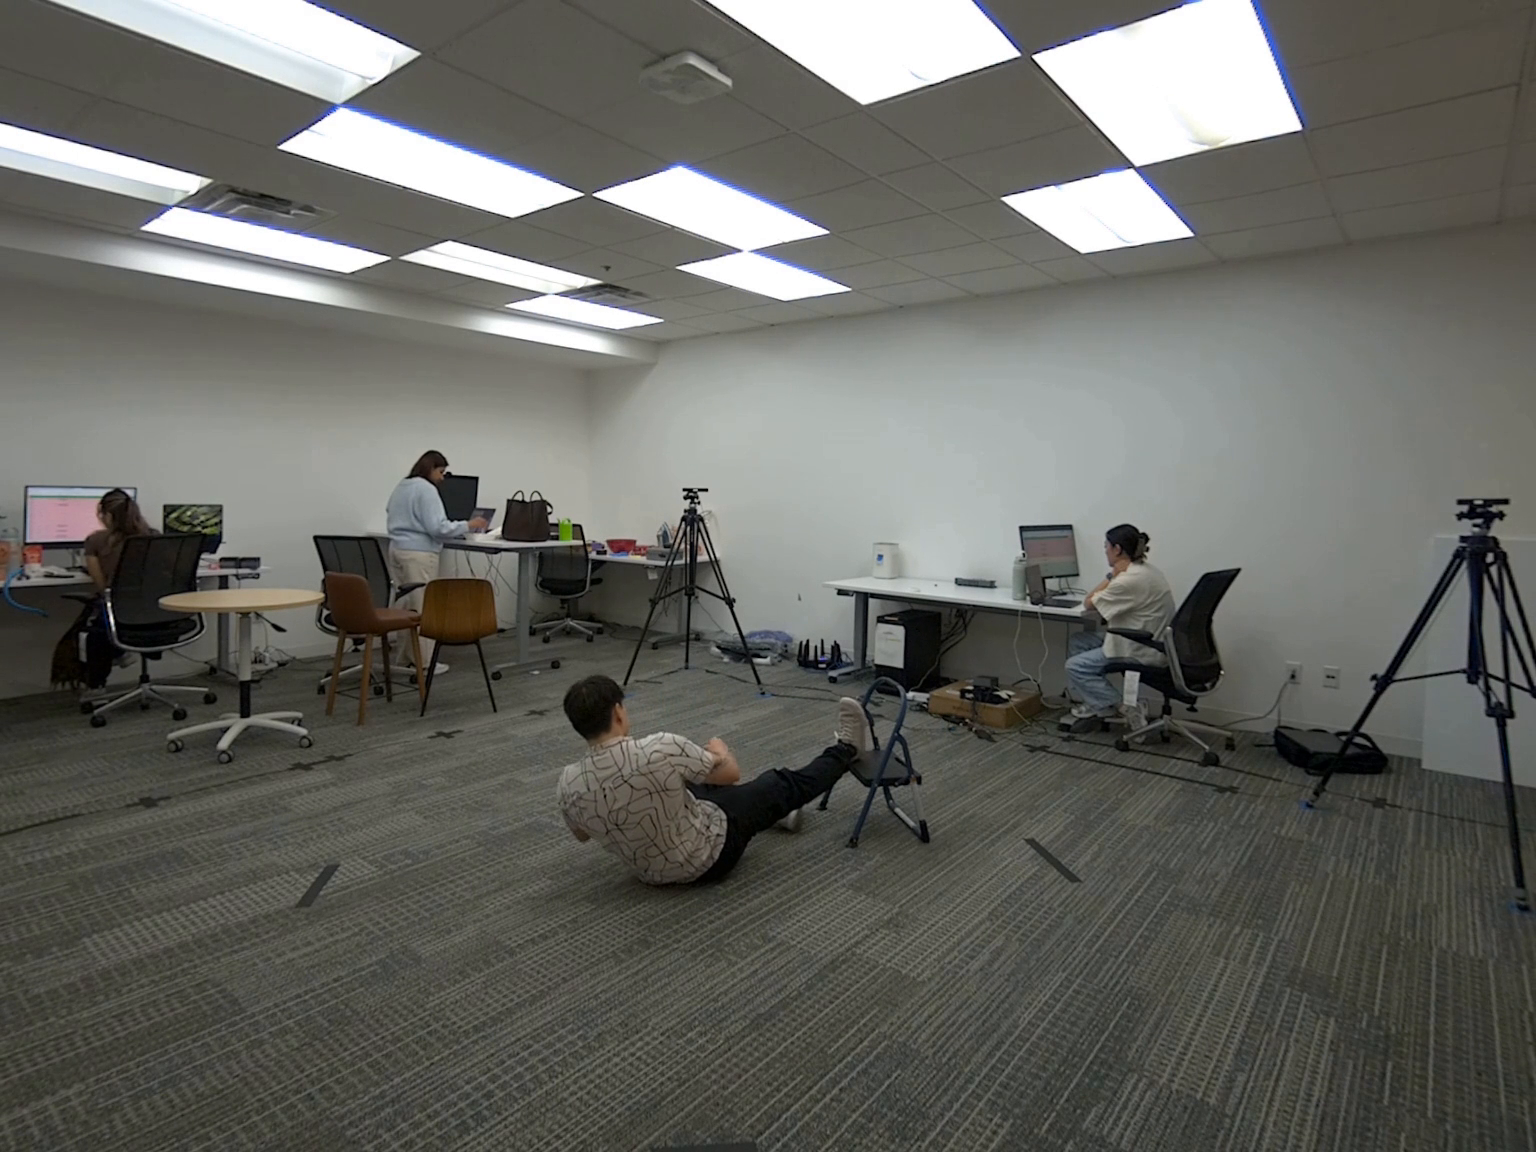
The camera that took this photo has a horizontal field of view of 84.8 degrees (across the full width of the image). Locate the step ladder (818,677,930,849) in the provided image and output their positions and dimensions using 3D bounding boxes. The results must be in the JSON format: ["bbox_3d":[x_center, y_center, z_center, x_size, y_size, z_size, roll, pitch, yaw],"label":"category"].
[{"bbox_3d":[0.439,0.744,3.551,0.345,0.604,0.438,0,4,-13],"label":"step ladder"}]
